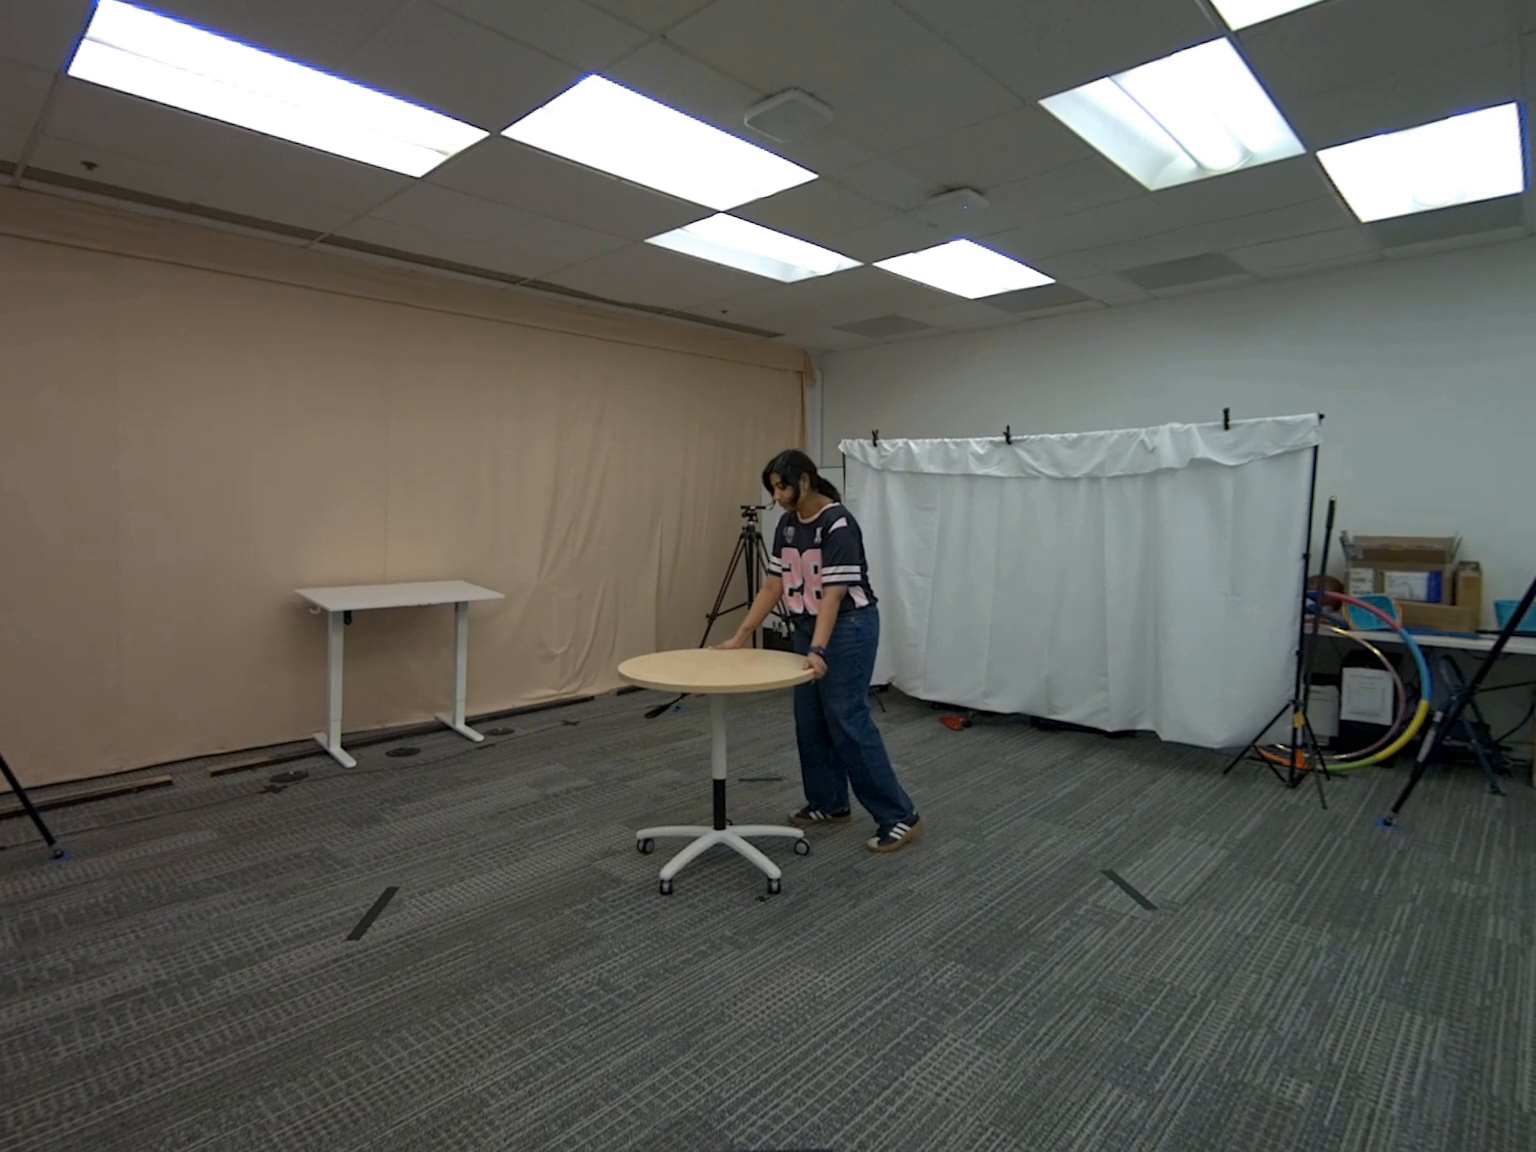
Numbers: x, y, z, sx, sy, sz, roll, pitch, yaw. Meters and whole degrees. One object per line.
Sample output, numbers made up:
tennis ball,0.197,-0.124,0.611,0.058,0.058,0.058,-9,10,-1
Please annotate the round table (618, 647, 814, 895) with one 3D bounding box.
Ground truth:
round table,-0.169,0.728,3.258,0.784,0.785,0.788,-1,4,-2
